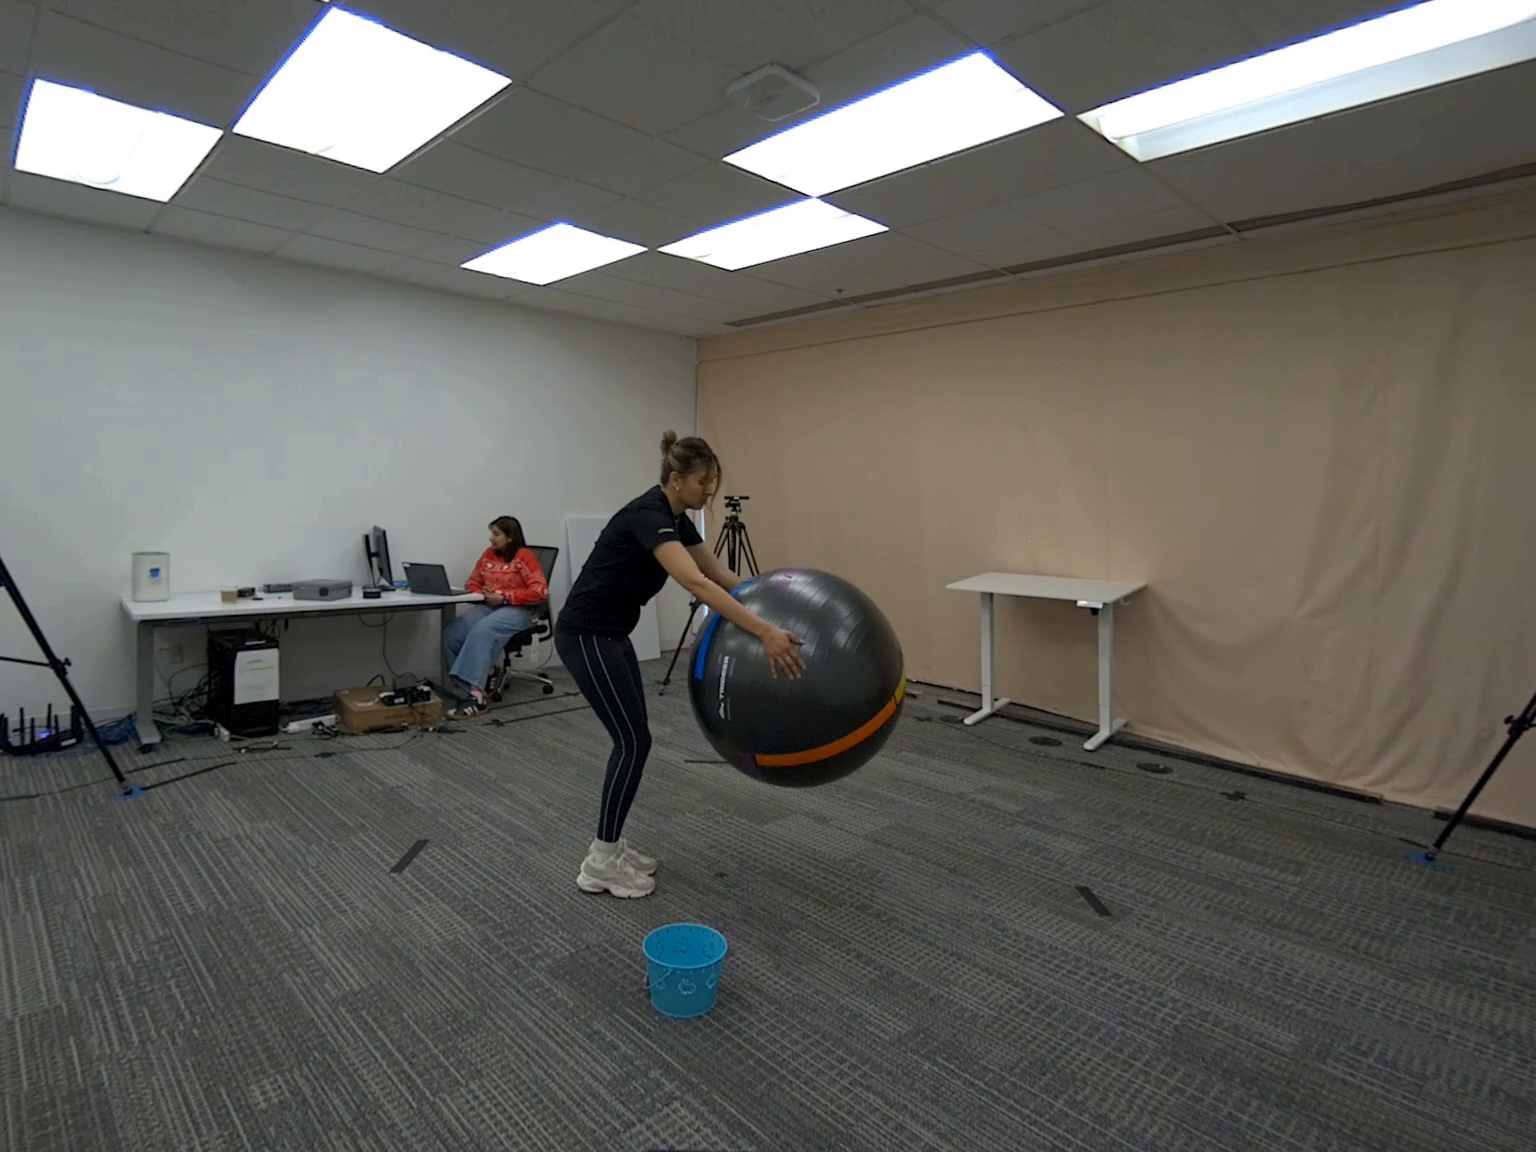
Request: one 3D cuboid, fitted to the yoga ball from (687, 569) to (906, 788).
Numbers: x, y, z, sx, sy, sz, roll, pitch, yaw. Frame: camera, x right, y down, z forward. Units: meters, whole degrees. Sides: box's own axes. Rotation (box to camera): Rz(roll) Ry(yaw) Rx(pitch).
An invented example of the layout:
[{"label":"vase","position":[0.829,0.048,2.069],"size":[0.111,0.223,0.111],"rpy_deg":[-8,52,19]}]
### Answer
[{"label":"yoga ball","position":[0.093,0.365,2.942],"size":[0.757,0.756,0.761],"rpy_deg":[1,4,-1]}]
